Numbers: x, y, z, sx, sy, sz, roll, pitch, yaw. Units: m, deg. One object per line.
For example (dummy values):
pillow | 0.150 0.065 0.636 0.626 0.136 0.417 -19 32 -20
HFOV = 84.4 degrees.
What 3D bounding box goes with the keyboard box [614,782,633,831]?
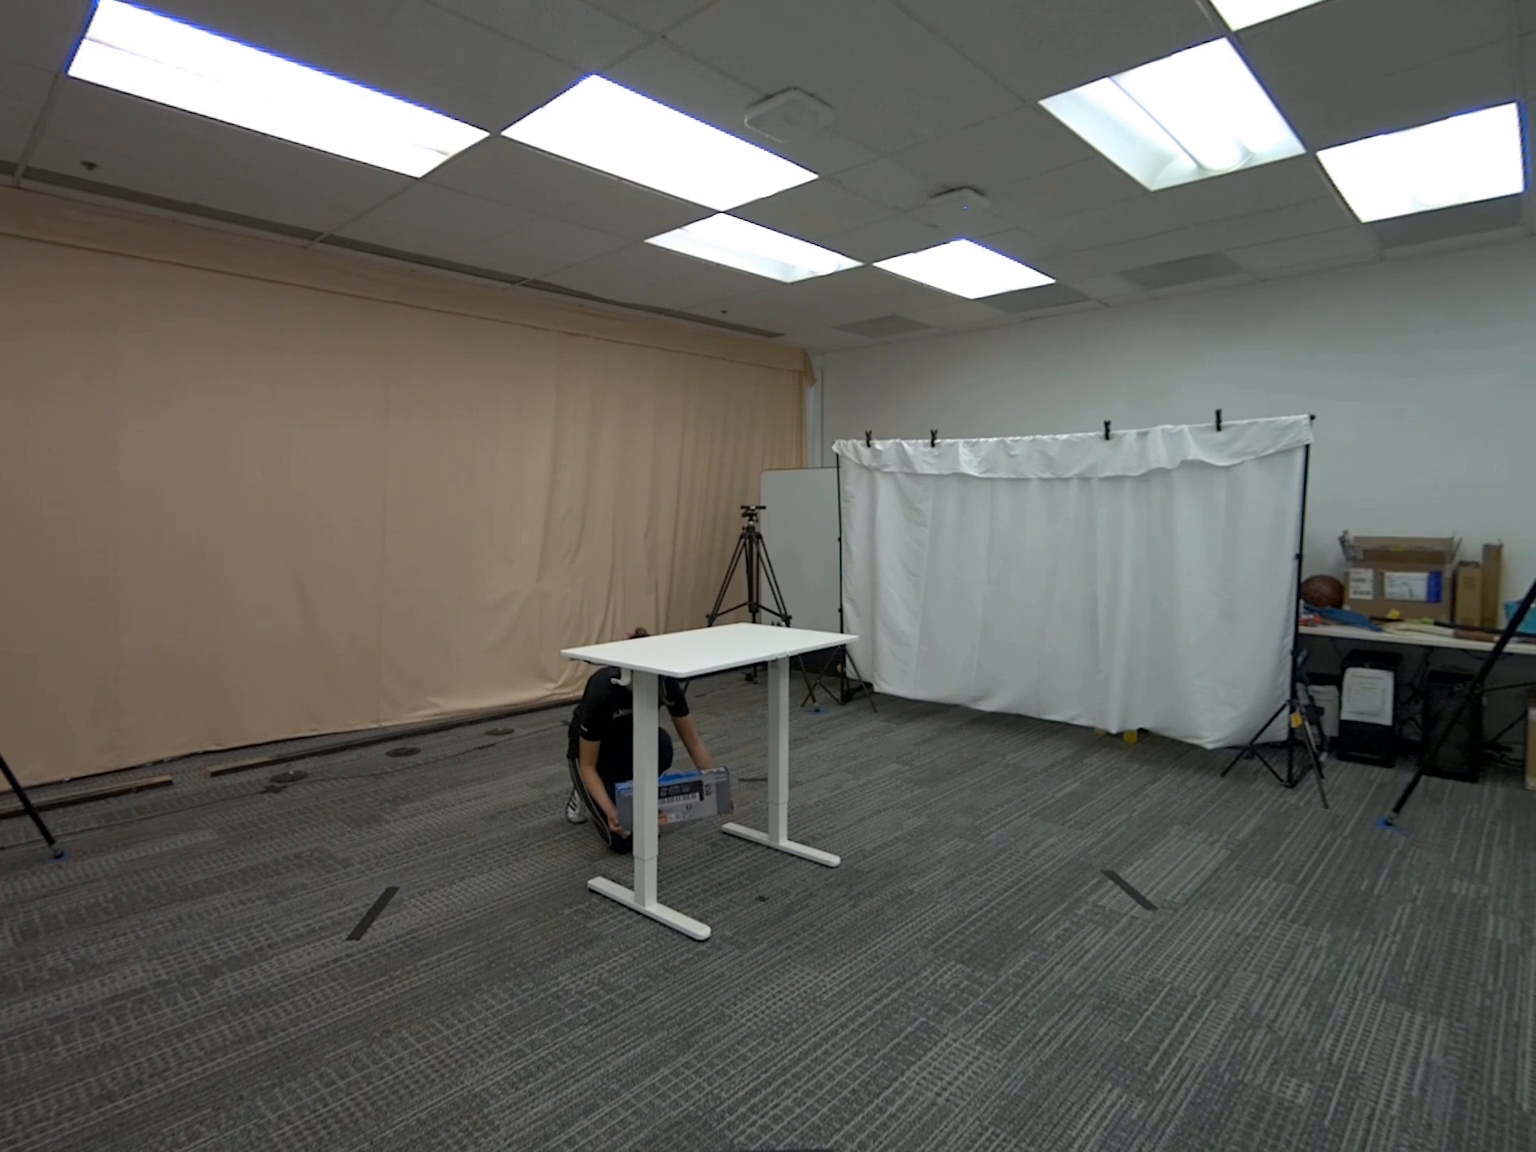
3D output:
keyboard box | -0.367 0.852 3.226 0.430 0.175 0.060 -6 6 -14
